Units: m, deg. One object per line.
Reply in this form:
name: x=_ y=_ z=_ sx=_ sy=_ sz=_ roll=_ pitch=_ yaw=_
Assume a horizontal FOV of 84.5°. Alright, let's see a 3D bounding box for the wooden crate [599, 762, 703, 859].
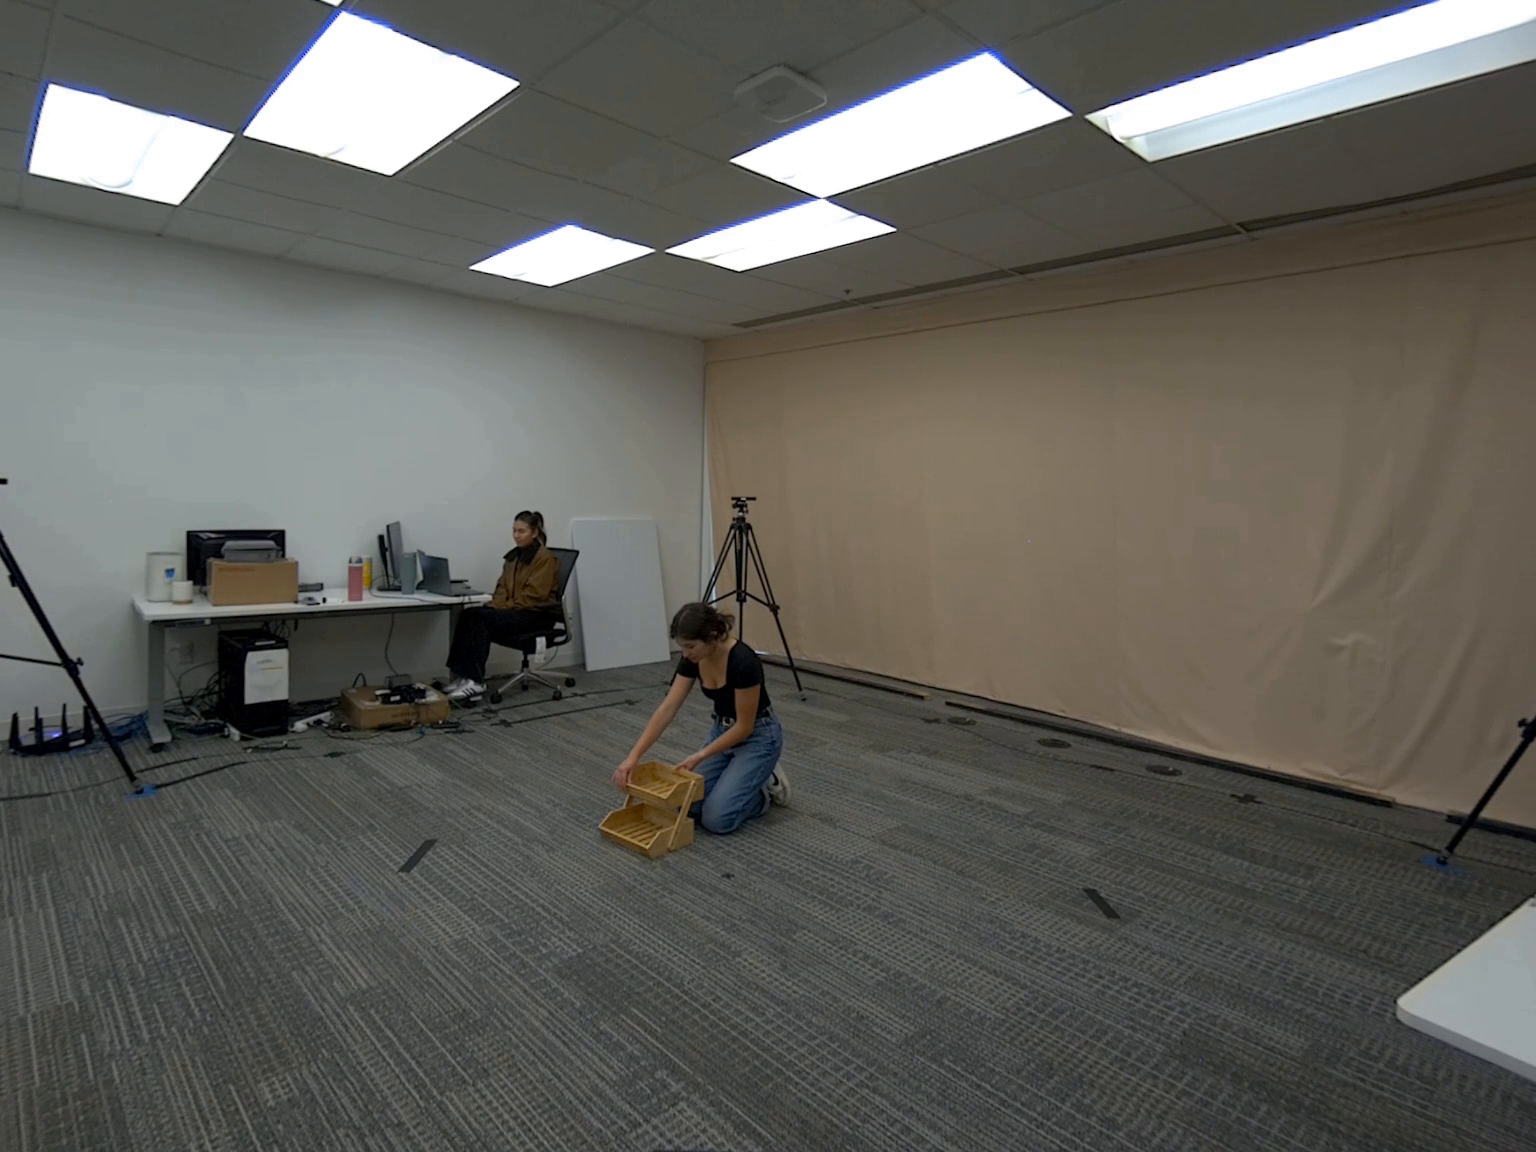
wooden crate: x=-0.487 y=0.937 z=3.421 sx=0.333 sy=0.273 sz=0.295 roll=5 pitch=5 yaw=41
